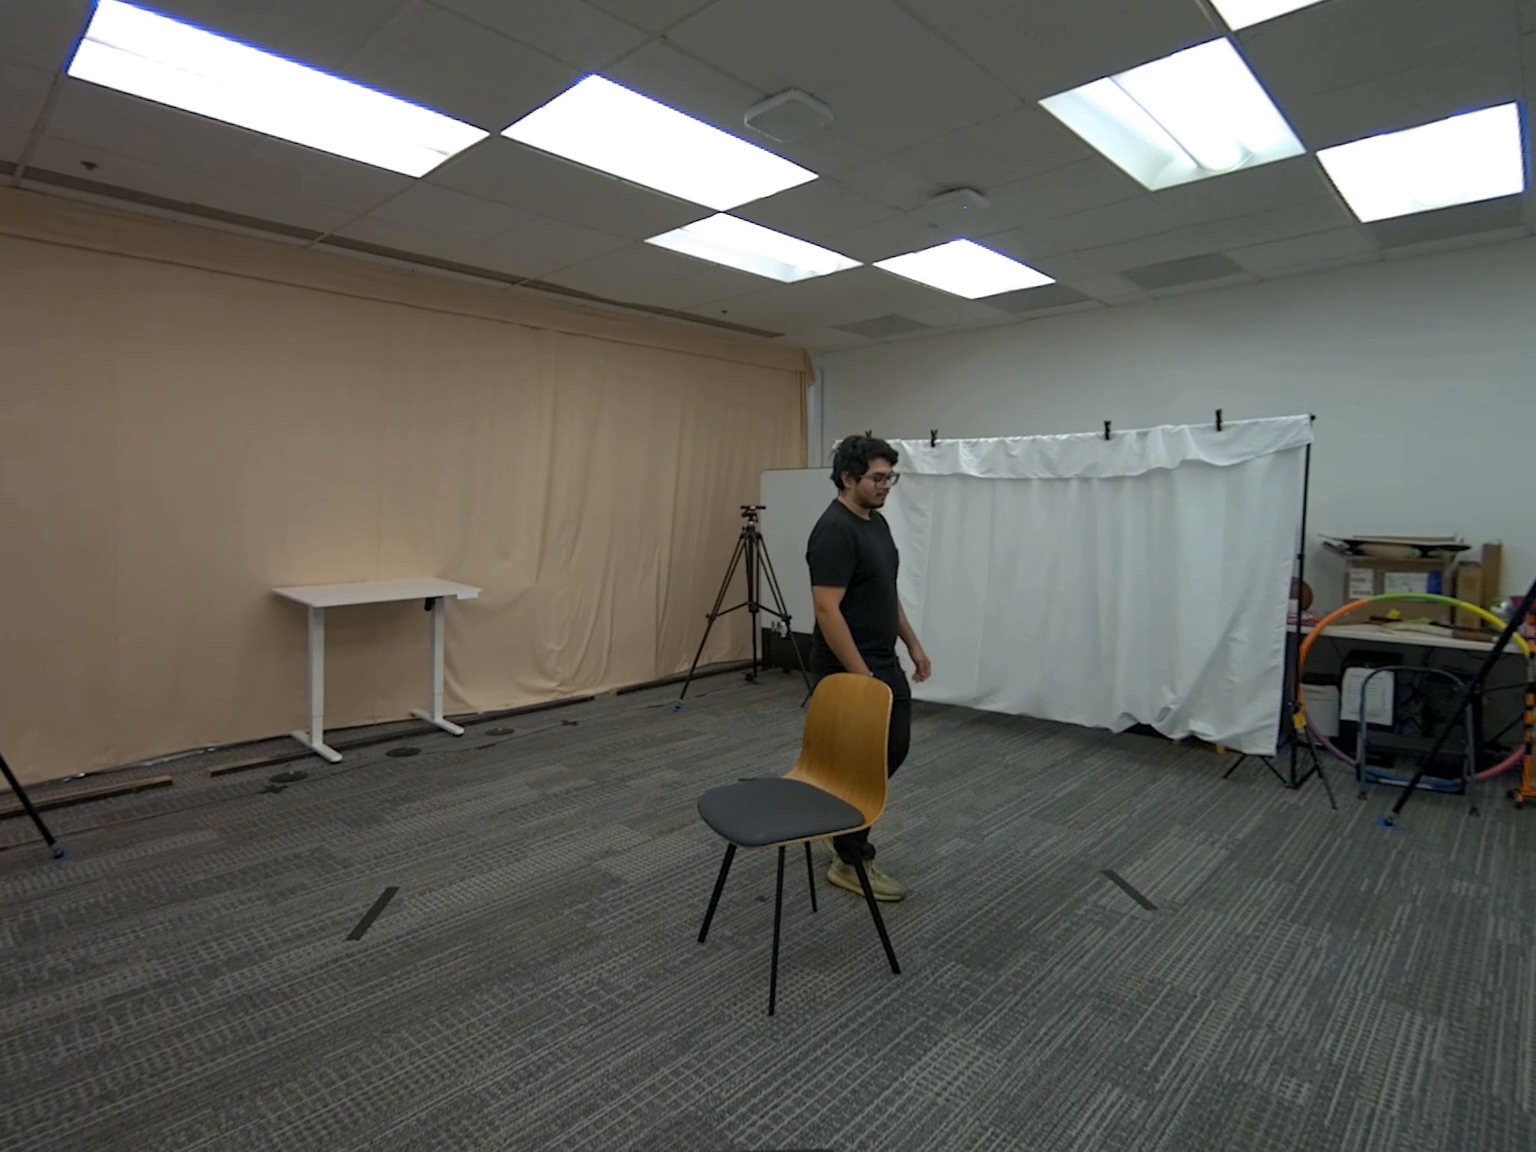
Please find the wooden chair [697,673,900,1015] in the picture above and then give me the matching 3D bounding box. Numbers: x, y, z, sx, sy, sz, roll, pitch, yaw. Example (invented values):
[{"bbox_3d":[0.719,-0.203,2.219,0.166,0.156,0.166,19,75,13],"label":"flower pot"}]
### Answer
[{"bbox_3d":[0.081,0.753,2.564,0.509,0.876,0.492,3,2,-30],"label":"wooden chair"}]
